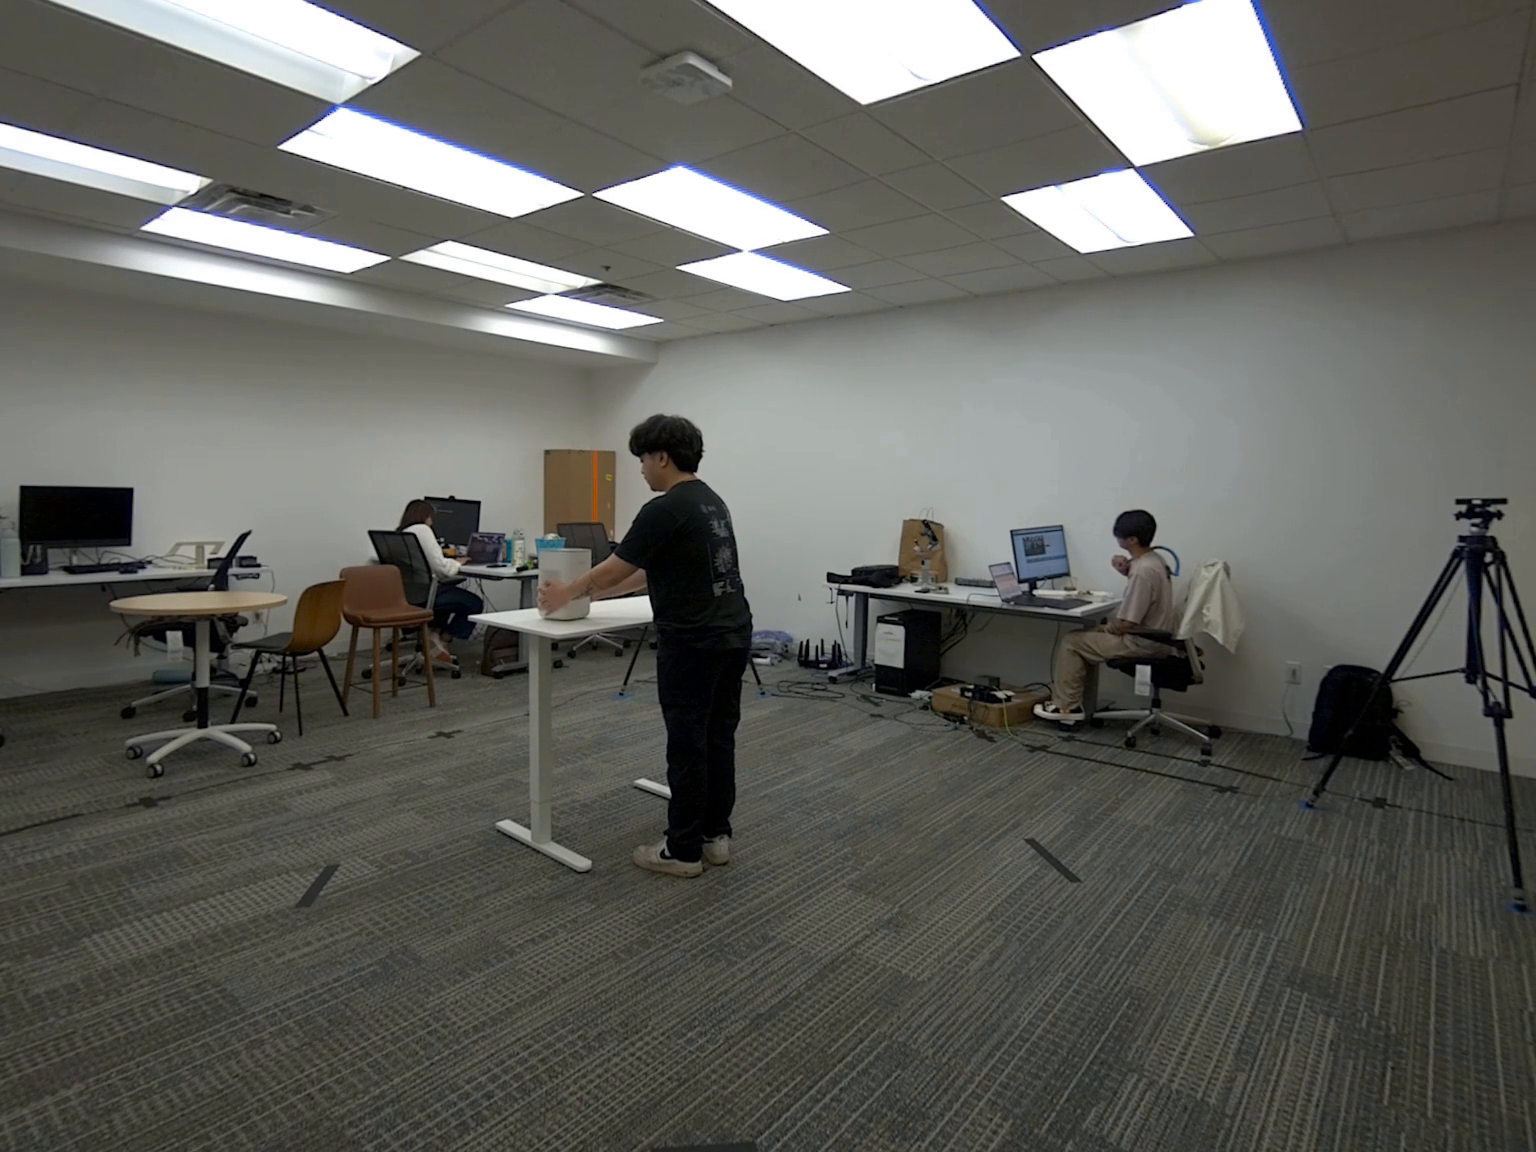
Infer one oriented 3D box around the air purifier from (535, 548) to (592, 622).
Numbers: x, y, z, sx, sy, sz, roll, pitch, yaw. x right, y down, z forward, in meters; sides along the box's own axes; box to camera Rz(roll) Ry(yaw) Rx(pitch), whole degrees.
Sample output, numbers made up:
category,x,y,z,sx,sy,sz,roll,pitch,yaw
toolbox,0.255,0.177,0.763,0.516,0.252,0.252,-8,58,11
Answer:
category,x,y,z,sx,sy,sz,roll,pitch,yaw
air purifier,-0.802,0.025,3.297,0.176,0.265,0.166,2,2,28
